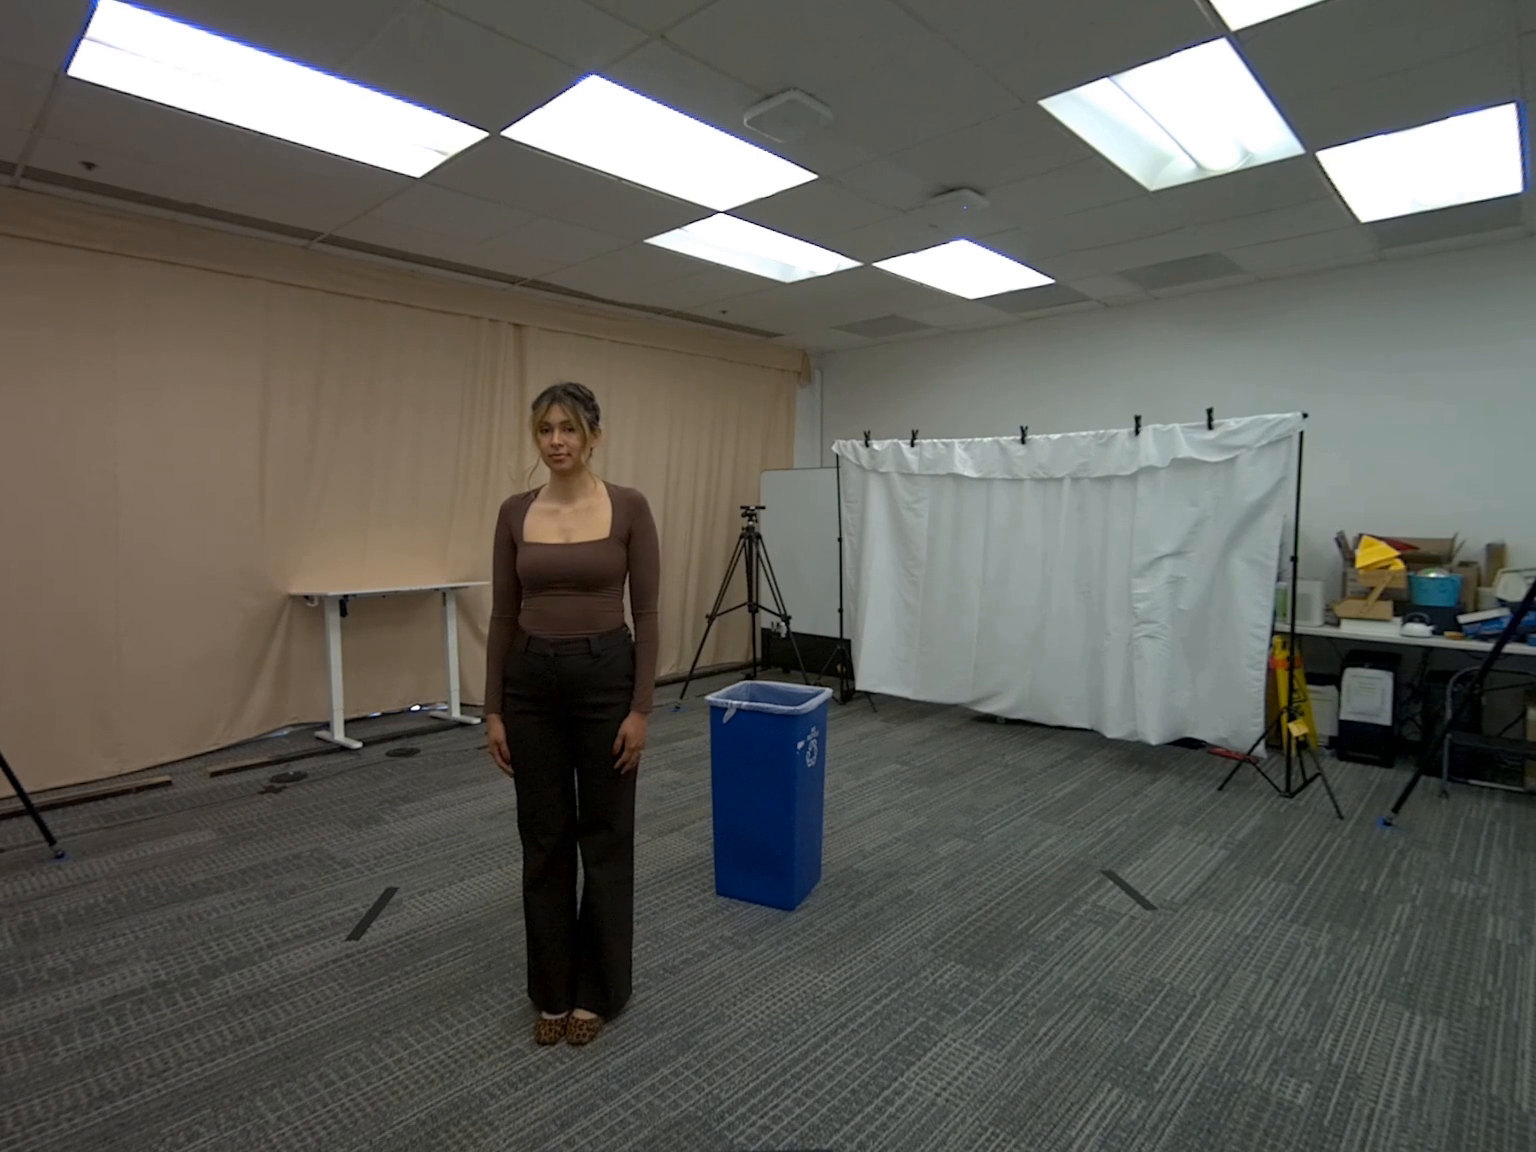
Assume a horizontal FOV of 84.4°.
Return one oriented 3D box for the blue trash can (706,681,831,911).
[{"bbox_3d":[0.004,0.778,3.062,0.384,0.712,0.369,3,4,24],"label":"blue trash can"}]
